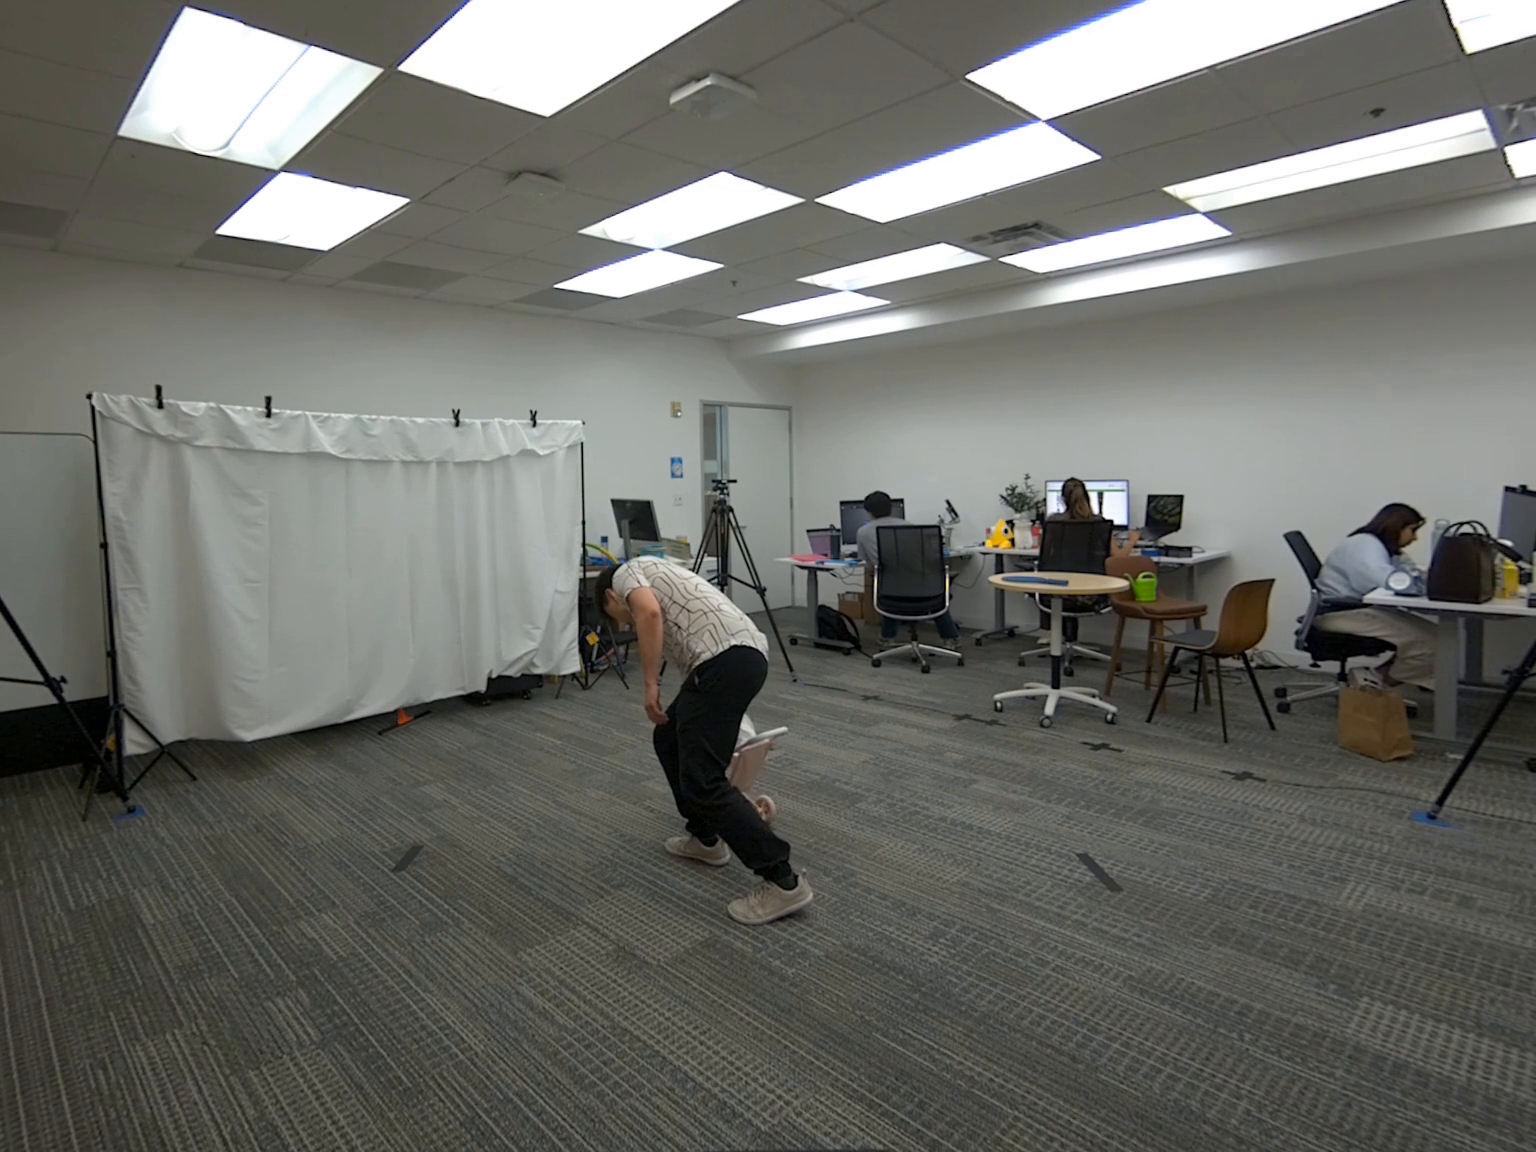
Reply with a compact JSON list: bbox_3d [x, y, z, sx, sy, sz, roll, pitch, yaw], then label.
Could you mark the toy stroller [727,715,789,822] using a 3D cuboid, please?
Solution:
[{"bbox_3d":[-0.137,0.786,3.439,0.274,0.530,0.354,-3,19,-45],"label":"toy stroller"}]
